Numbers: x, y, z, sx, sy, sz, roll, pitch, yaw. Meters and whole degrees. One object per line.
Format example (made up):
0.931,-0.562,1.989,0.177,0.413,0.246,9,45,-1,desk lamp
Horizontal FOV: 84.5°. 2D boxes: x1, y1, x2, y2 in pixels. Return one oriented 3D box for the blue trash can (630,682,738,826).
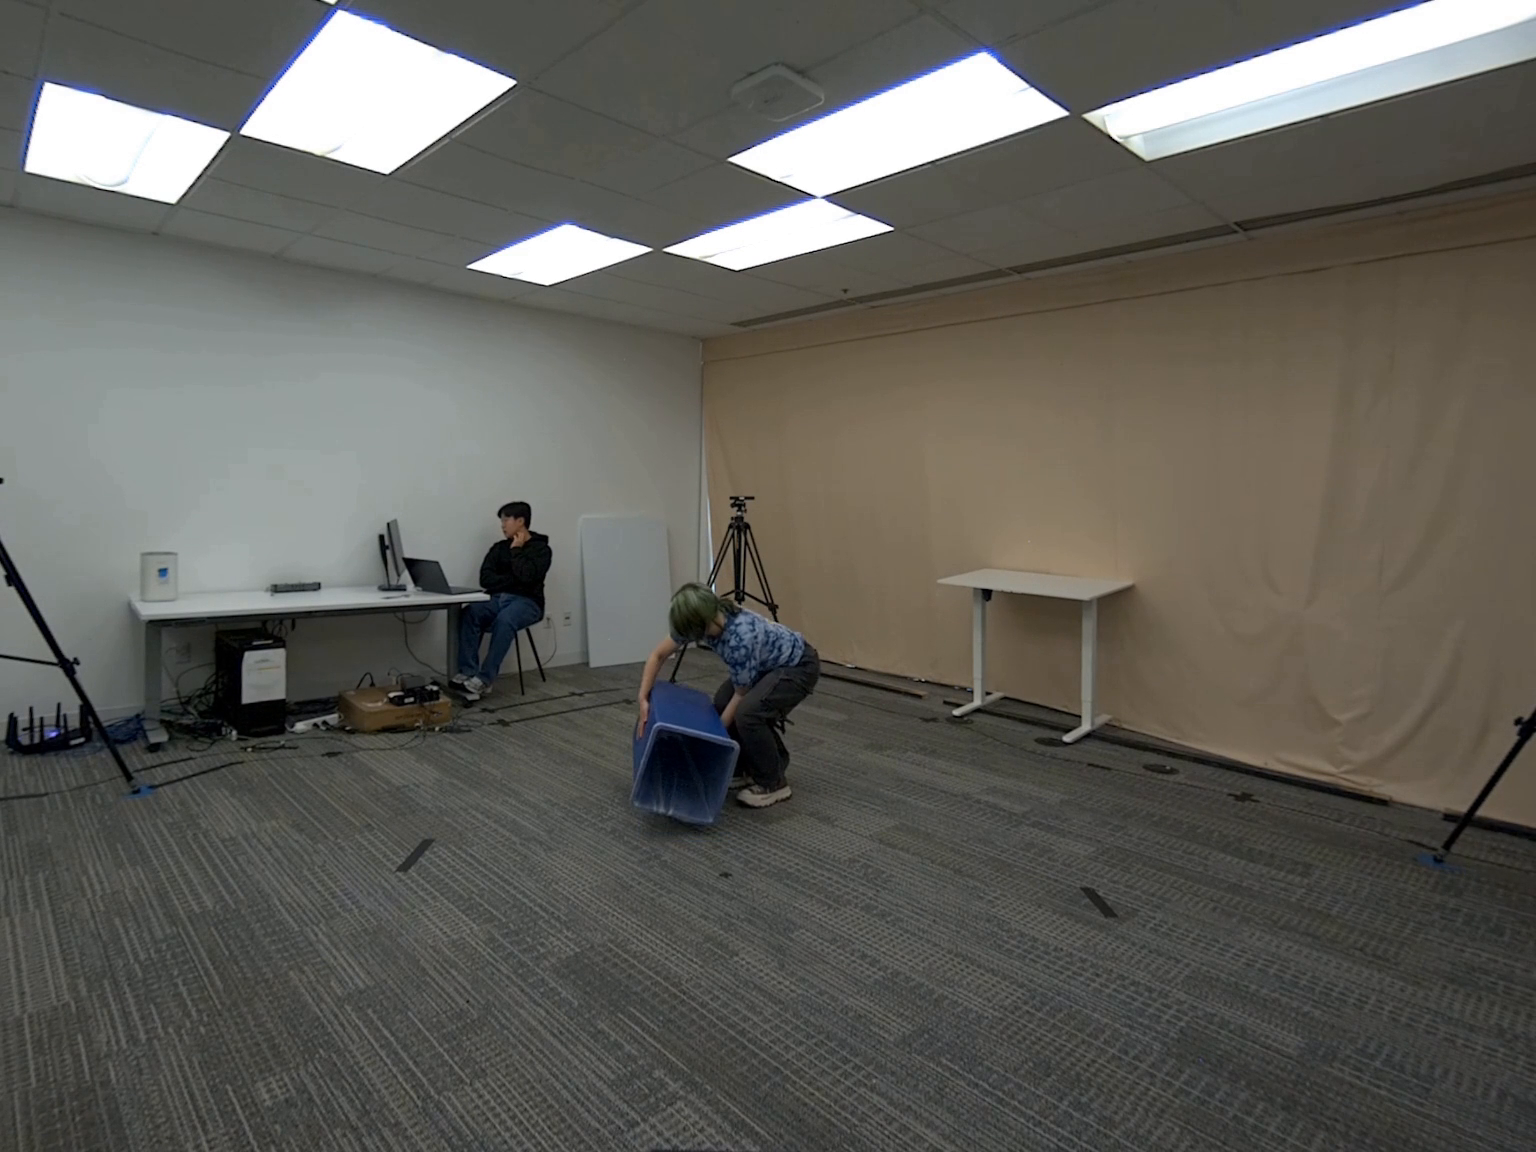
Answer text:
-0.420,0.732,3.738,0.373,0.373,0.725,16,7,-14,blue trash can
